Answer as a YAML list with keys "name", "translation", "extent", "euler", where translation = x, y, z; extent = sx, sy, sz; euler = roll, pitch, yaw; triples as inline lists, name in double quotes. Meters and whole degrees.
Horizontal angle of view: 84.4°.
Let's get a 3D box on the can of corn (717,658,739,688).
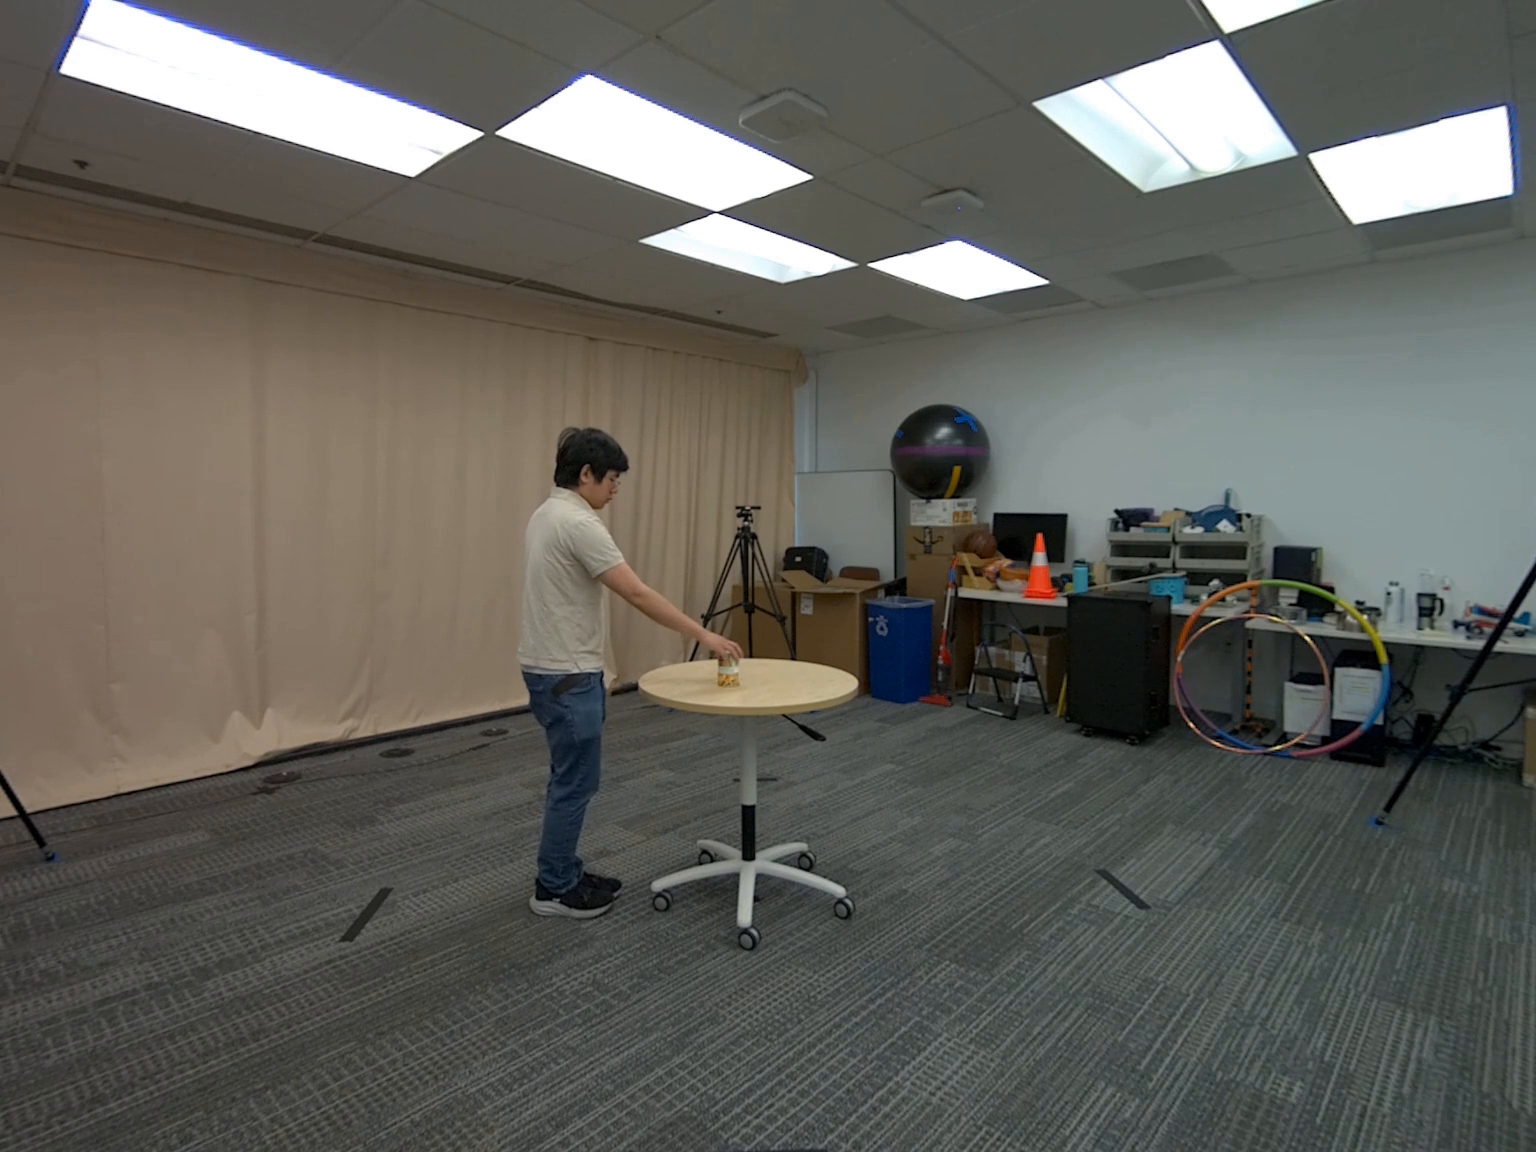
- name: "can of corn"
  translation: [-0.142, 0.320, 2.858]
  extent: [0.074, 0.111, 0.074]
  euler: [-3, 4, -2]
